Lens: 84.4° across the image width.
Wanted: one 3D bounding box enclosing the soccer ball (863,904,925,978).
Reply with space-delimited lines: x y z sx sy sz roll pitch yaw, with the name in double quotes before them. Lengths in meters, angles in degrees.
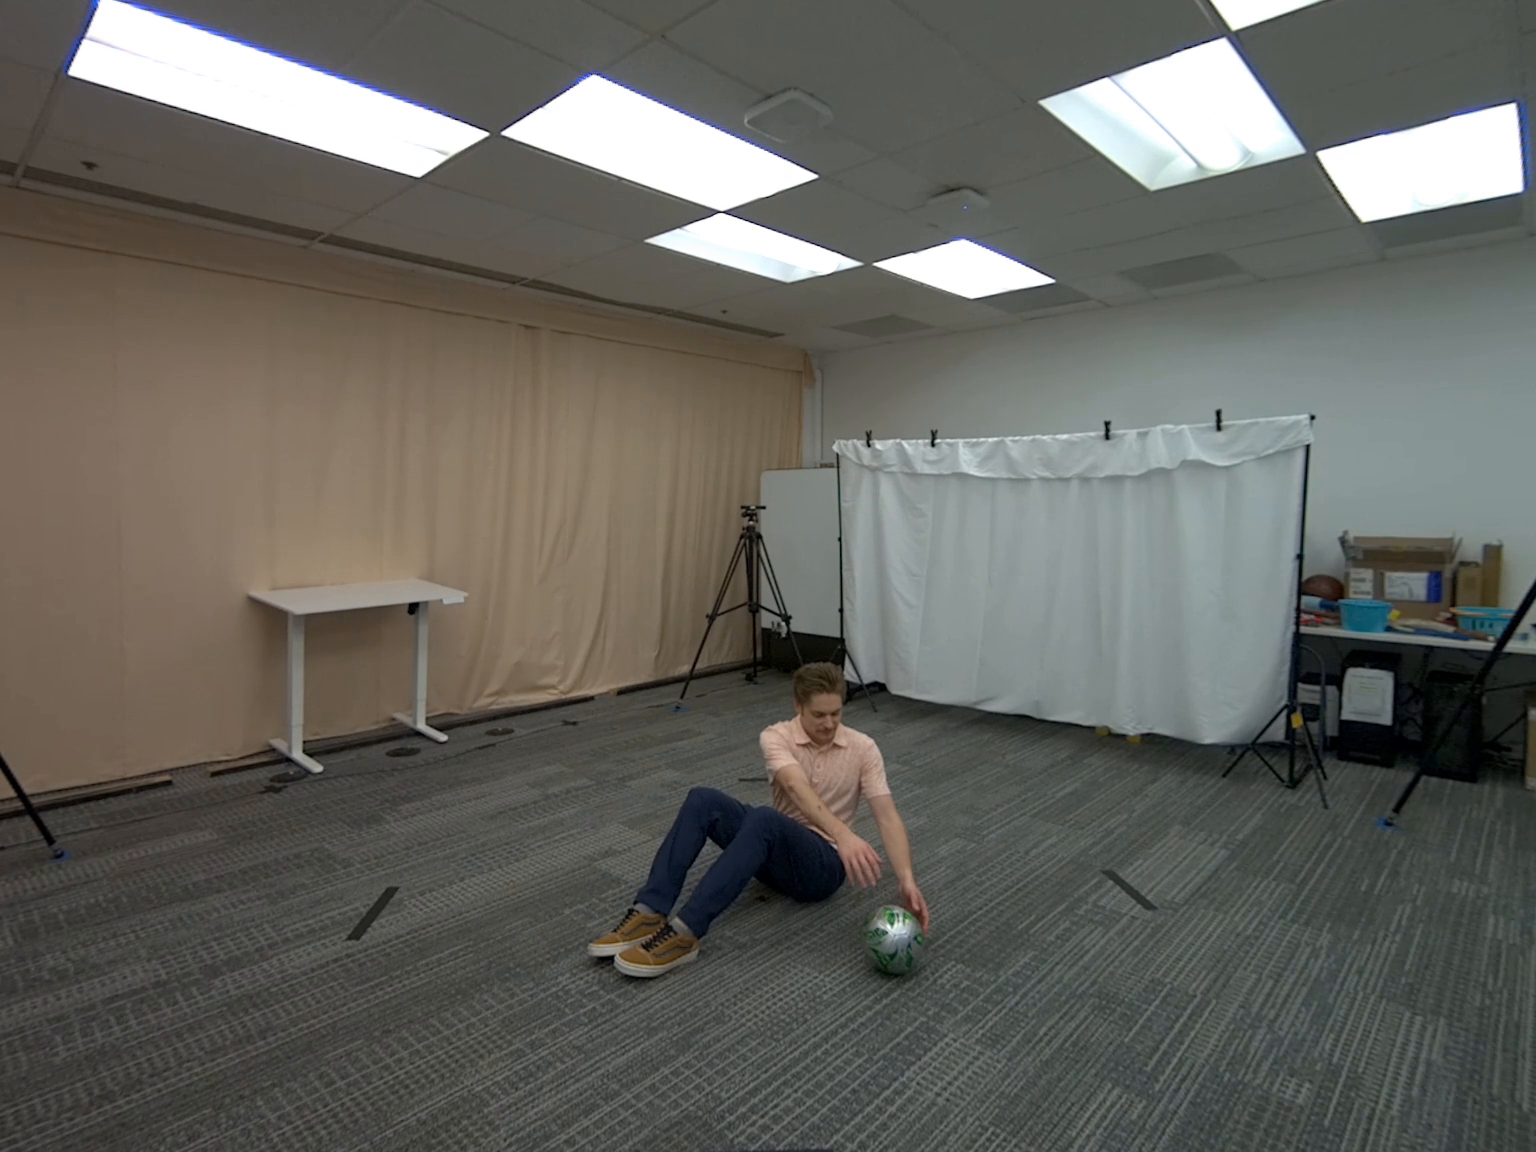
"soccer ball" 0.370 1.086 2.522 0.187 0.187 0.188 0 4 -2
